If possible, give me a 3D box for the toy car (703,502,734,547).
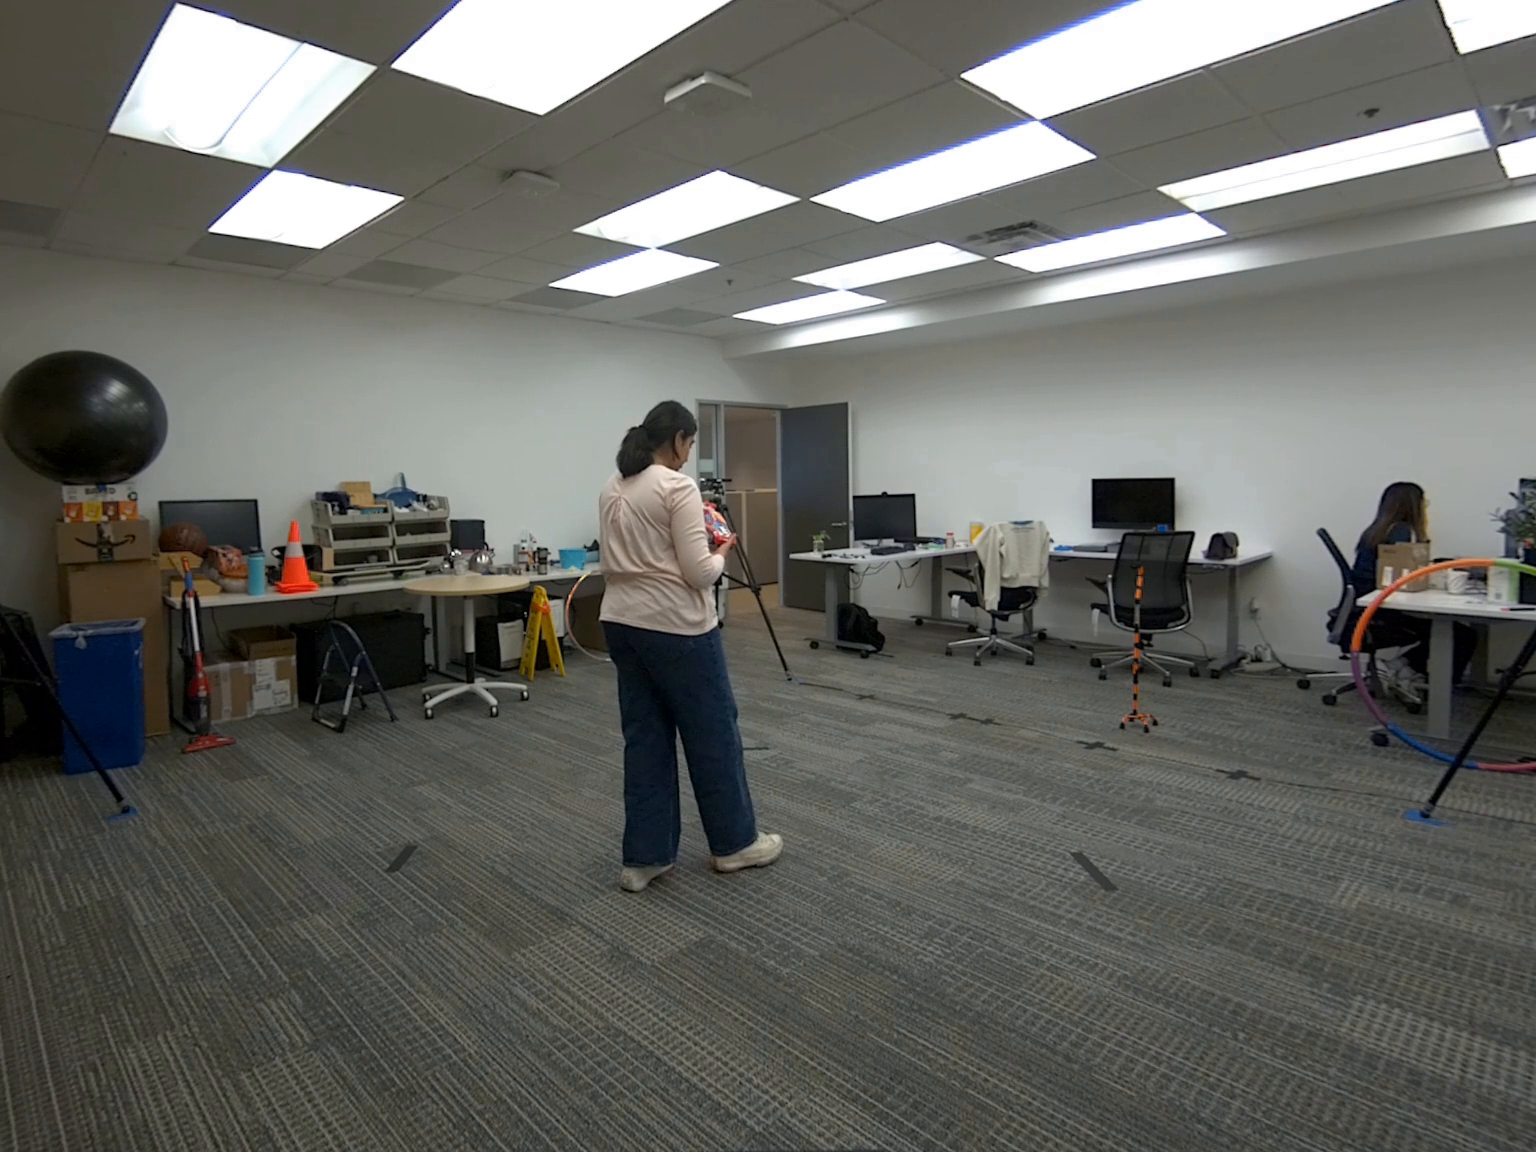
[{"bbox_3d":[-0.209,-0.194,3.190,0.126,0.264,0.083,14,-52,-39],"label":"toy car"}]
